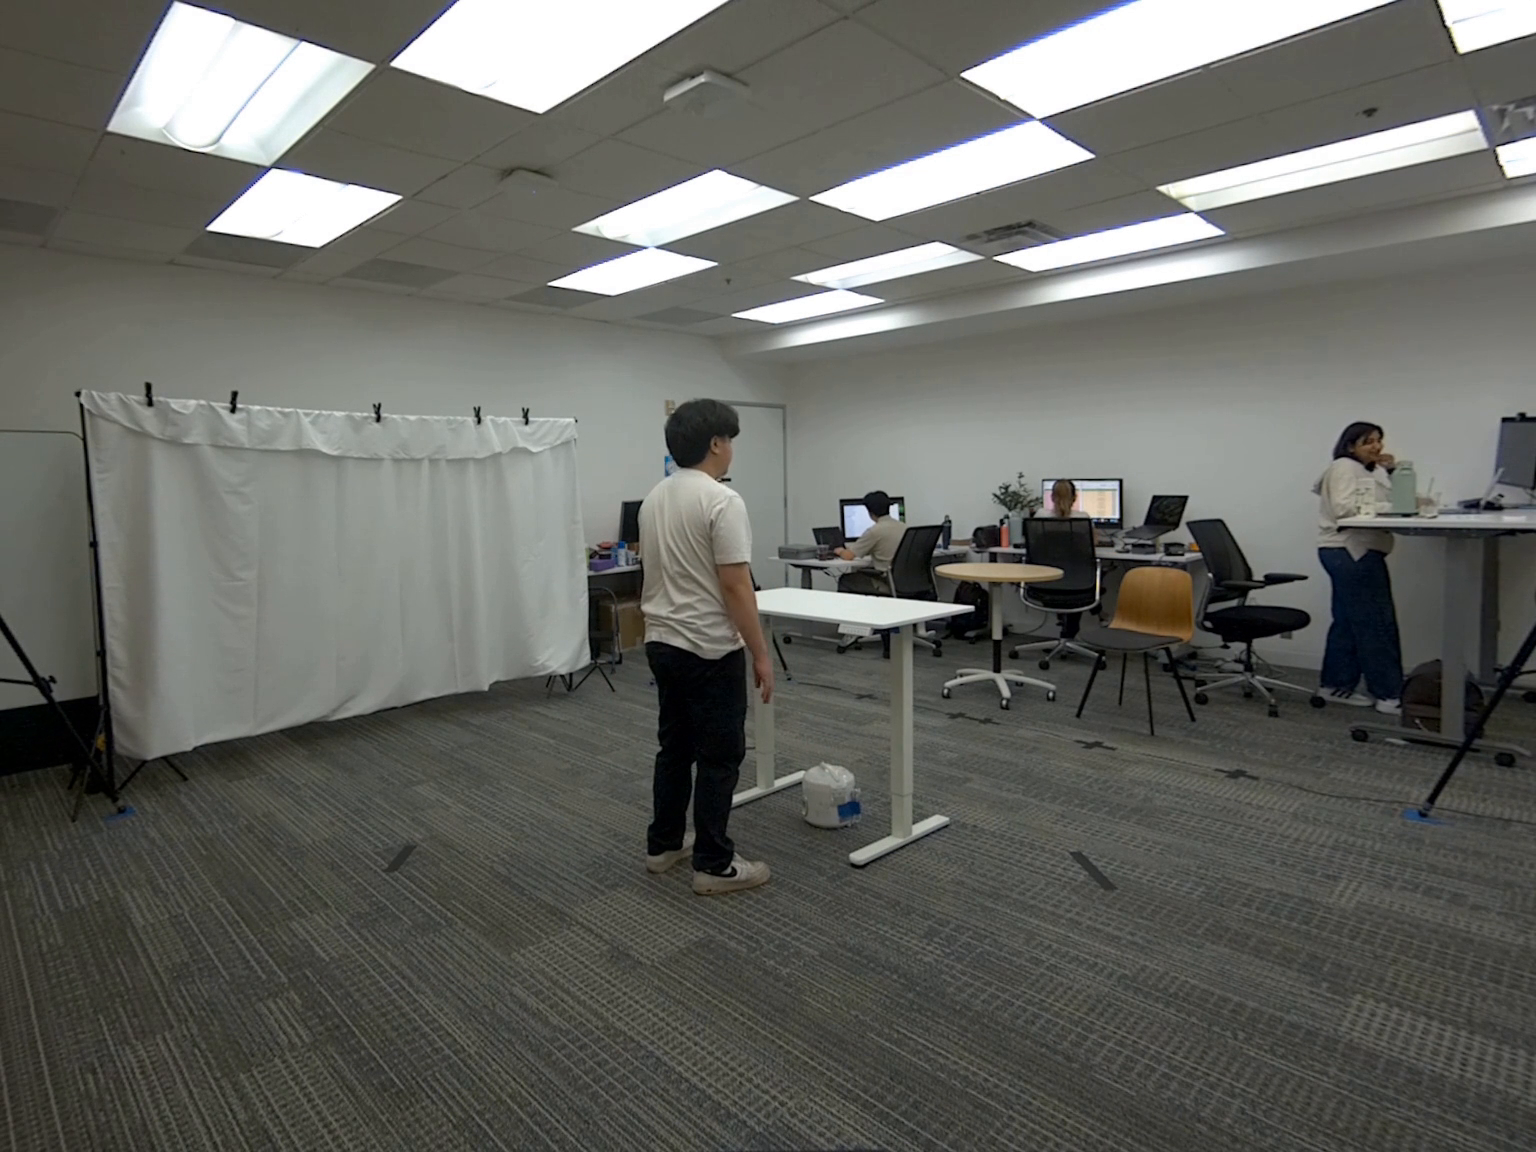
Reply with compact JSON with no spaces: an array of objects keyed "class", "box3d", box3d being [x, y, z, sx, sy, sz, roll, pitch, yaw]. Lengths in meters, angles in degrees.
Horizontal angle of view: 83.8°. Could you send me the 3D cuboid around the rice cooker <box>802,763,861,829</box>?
[{"class":"rice cooker","box3d":[0.245,0.881,3.463,0.214,0.232,0.225,-2,5,-16]}]
